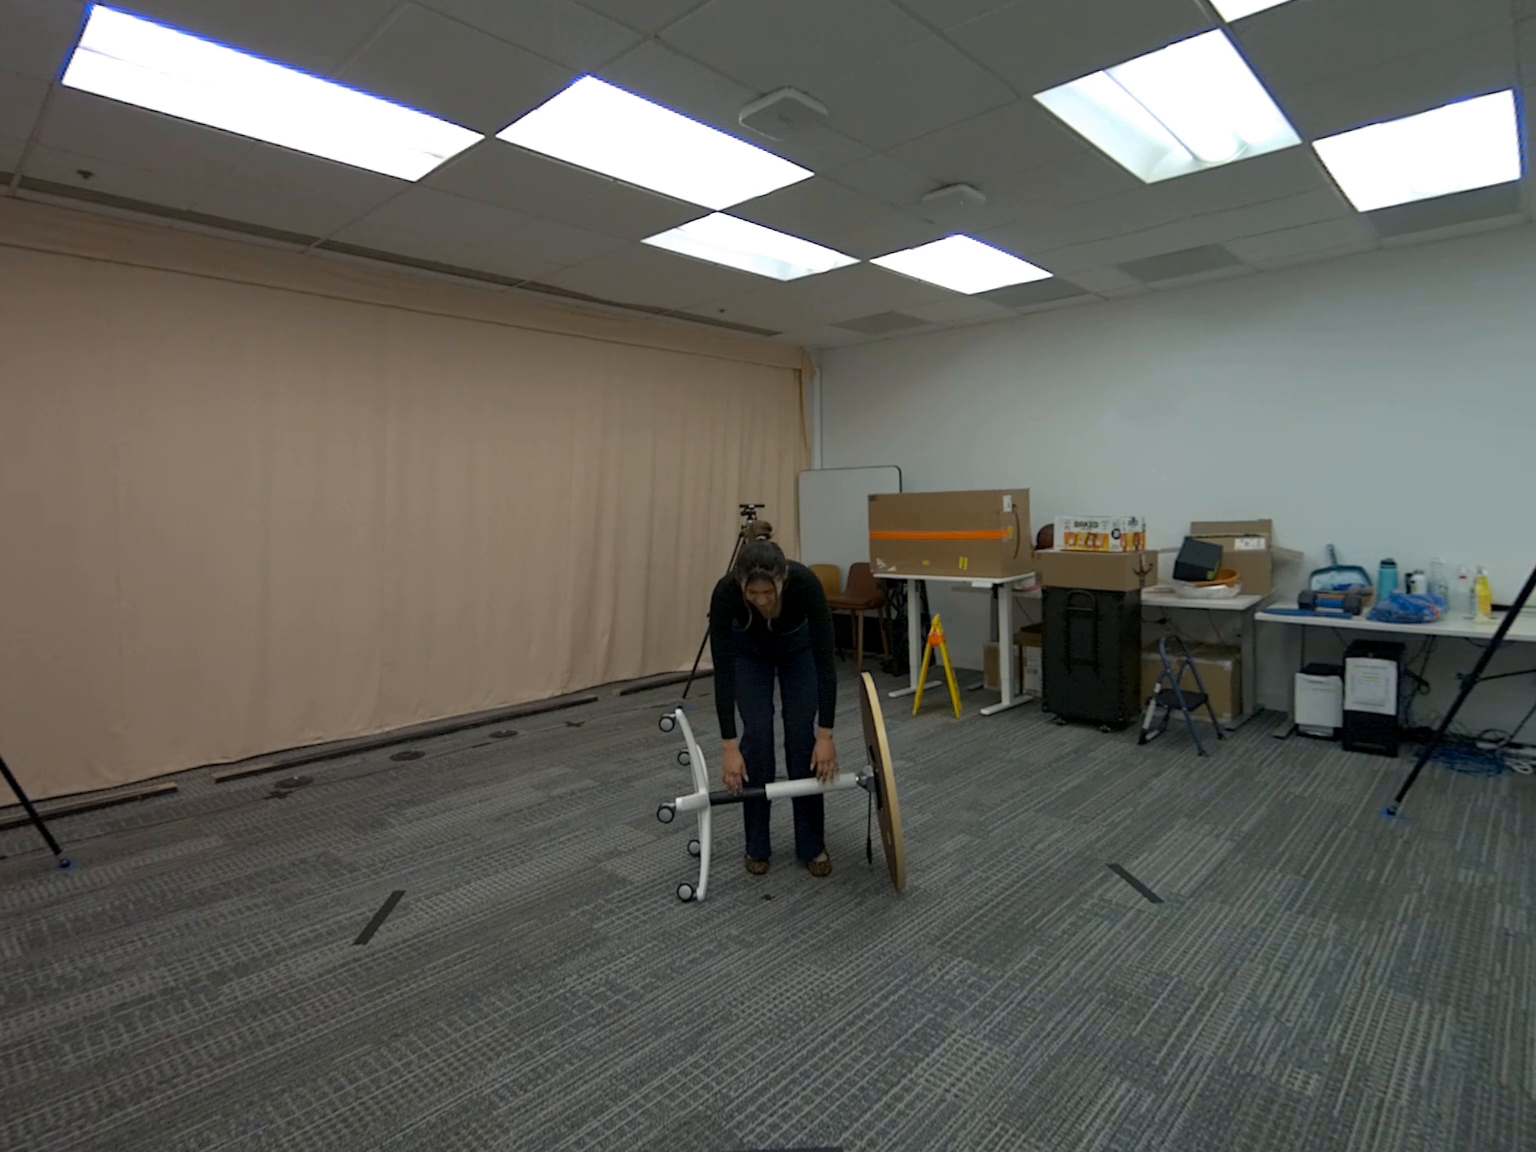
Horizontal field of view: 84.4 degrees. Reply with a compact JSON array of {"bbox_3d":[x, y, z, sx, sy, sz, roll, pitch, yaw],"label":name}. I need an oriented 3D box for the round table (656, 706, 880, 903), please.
[{"bbox_3d":[0.037,0.799,3.120,0.797,0.762,0.763,-9,4,3],"label":"round table"}]
